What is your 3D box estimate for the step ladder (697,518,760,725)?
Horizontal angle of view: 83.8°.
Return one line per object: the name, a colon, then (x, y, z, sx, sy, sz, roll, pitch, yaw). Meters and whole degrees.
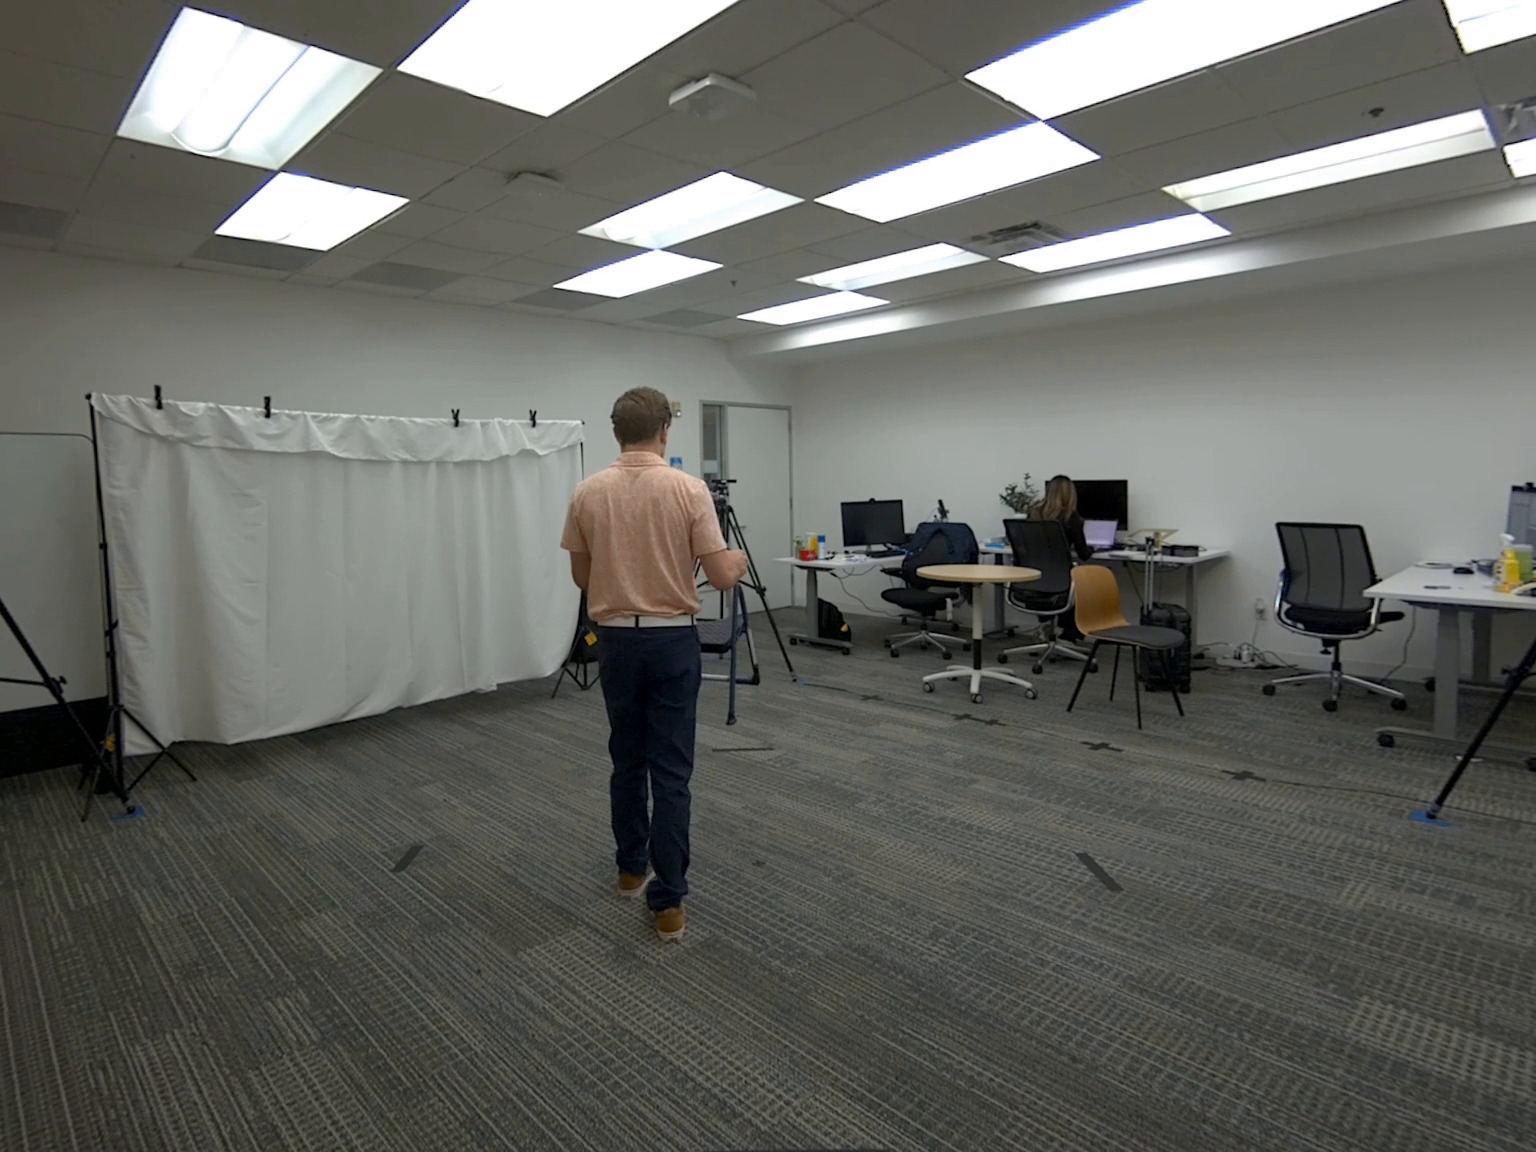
step ladder: (-0.288, 0.162, 3.058, 0.438, 0.598, 0.348, 2, 15, 18)
